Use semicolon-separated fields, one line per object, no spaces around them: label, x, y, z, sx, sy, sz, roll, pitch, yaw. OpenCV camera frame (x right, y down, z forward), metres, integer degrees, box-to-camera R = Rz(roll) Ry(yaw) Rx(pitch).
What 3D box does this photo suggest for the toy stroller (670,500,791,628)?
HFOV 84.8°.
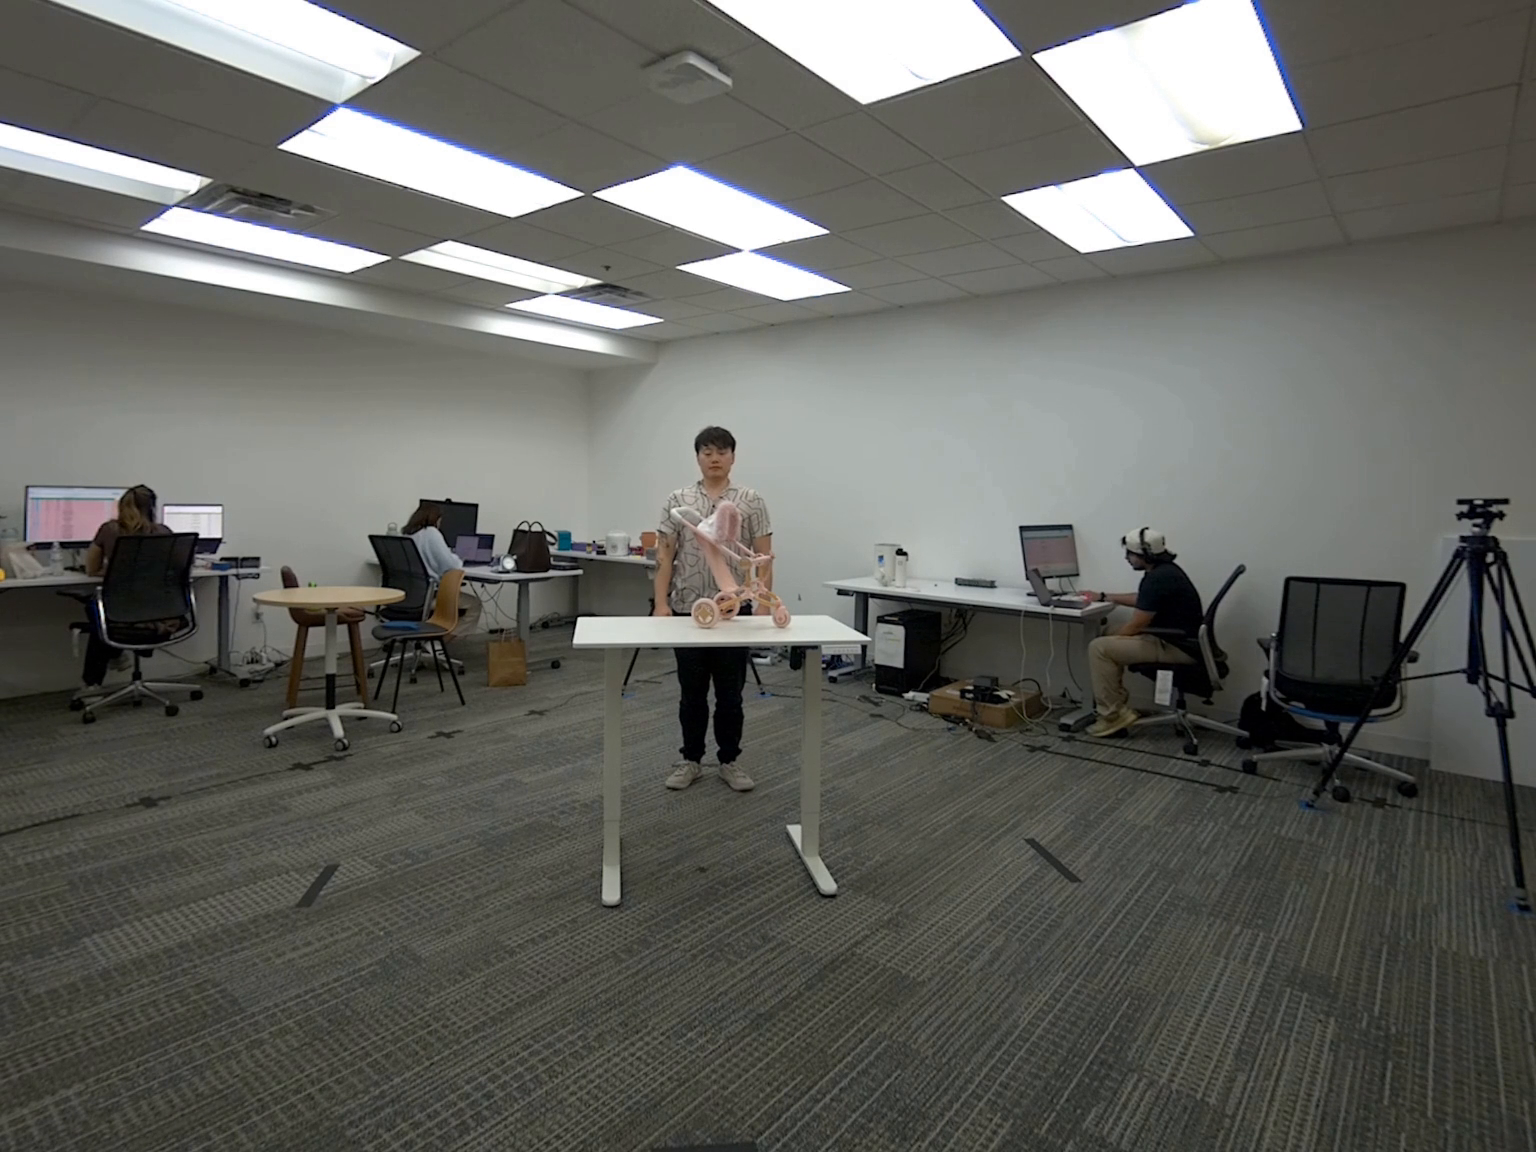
toy stroller;-0.145;-0.044;3.184;0.347;0.537;0.276;-15;-3;22
